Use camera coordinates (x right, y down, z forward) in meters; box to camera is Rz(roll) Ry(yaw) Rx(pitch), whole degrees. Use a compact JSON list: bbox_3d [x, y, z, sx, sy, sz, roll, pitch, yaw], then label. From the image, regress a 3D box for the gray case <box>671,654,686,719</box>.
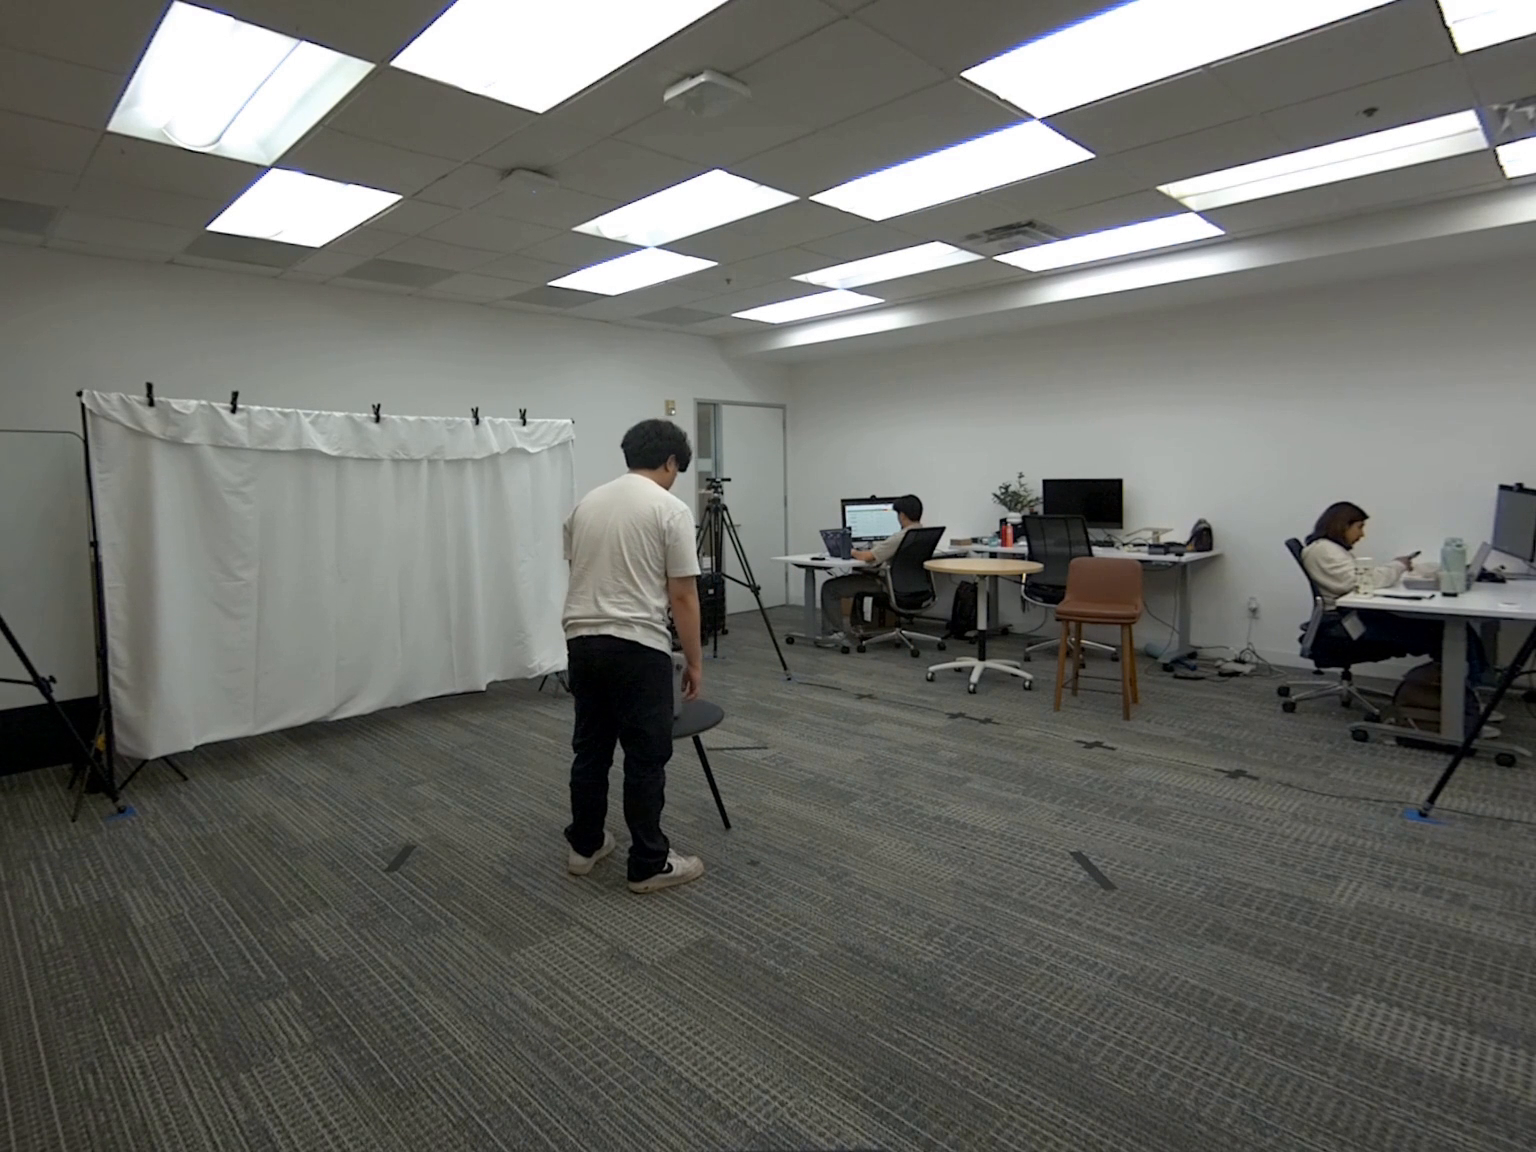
[{"bbox_3d":[-0.441,0.417,3.347,0.101,0.262,0.264,8,-6,-42],"label":"gray case"}]
